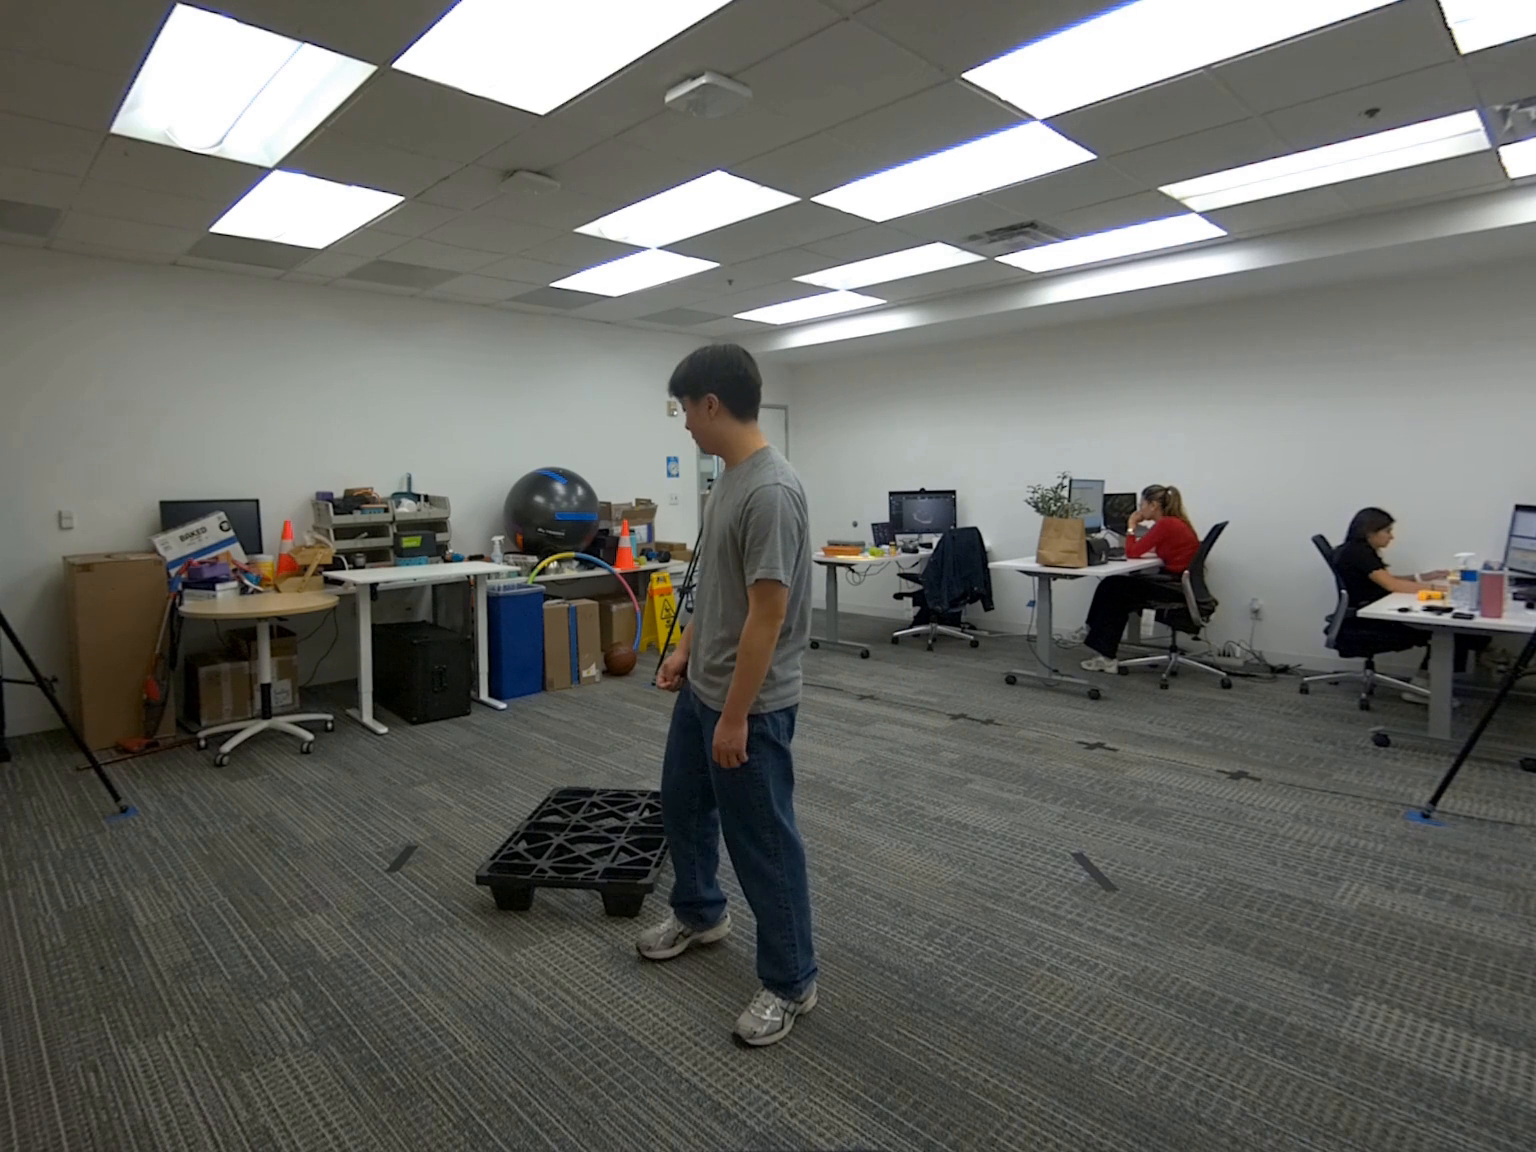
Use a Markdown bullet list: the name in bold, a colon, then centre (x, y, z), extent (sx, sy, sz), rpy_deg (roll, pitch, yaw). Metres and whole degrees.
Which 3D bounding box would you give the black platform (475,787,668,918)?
- **black platform**: centre (-0.615, 0.983, 3.127), extent (0.610, 0.142, 0.804), rpy_deg (0, 7, 7)
